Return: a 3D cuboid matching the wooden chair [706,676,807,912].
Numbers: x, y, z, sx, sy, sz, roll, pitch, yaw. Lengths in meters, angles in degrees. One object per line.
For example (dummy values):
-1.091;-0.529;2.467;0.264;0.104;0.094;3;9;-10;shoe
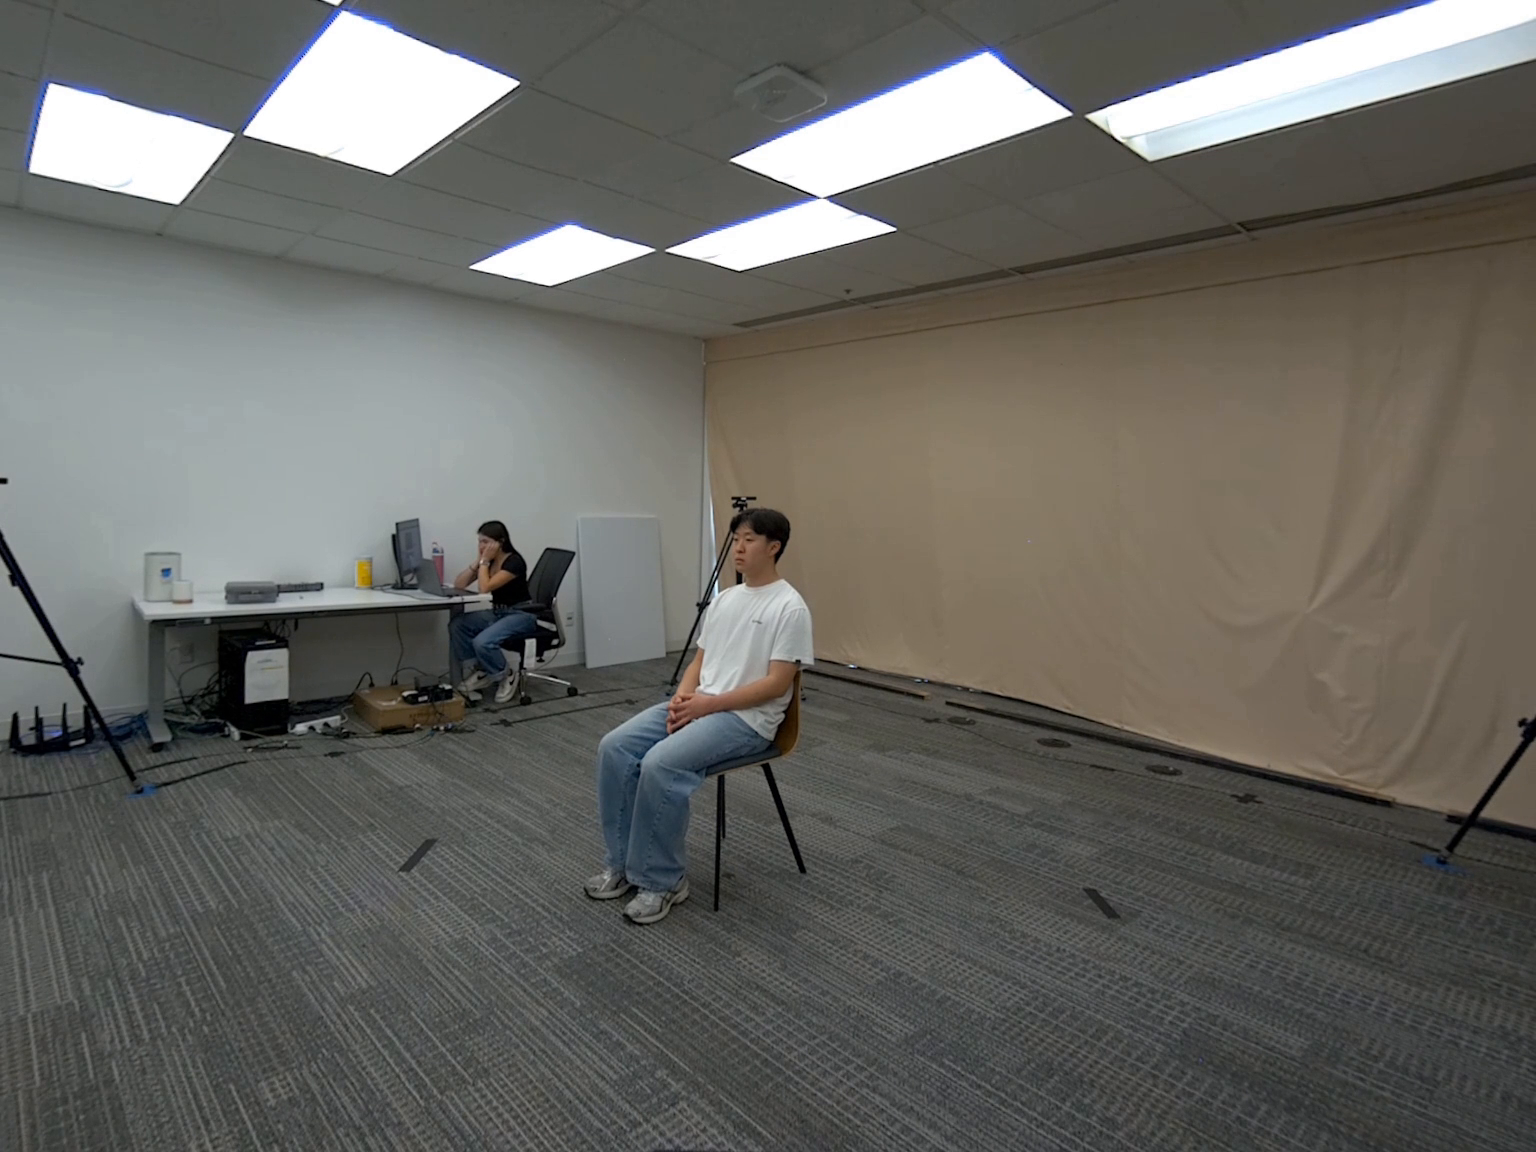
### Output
-0.173;0.678;3.120;0.510;0.878;0.490;5;-1;-45;wooden chair
